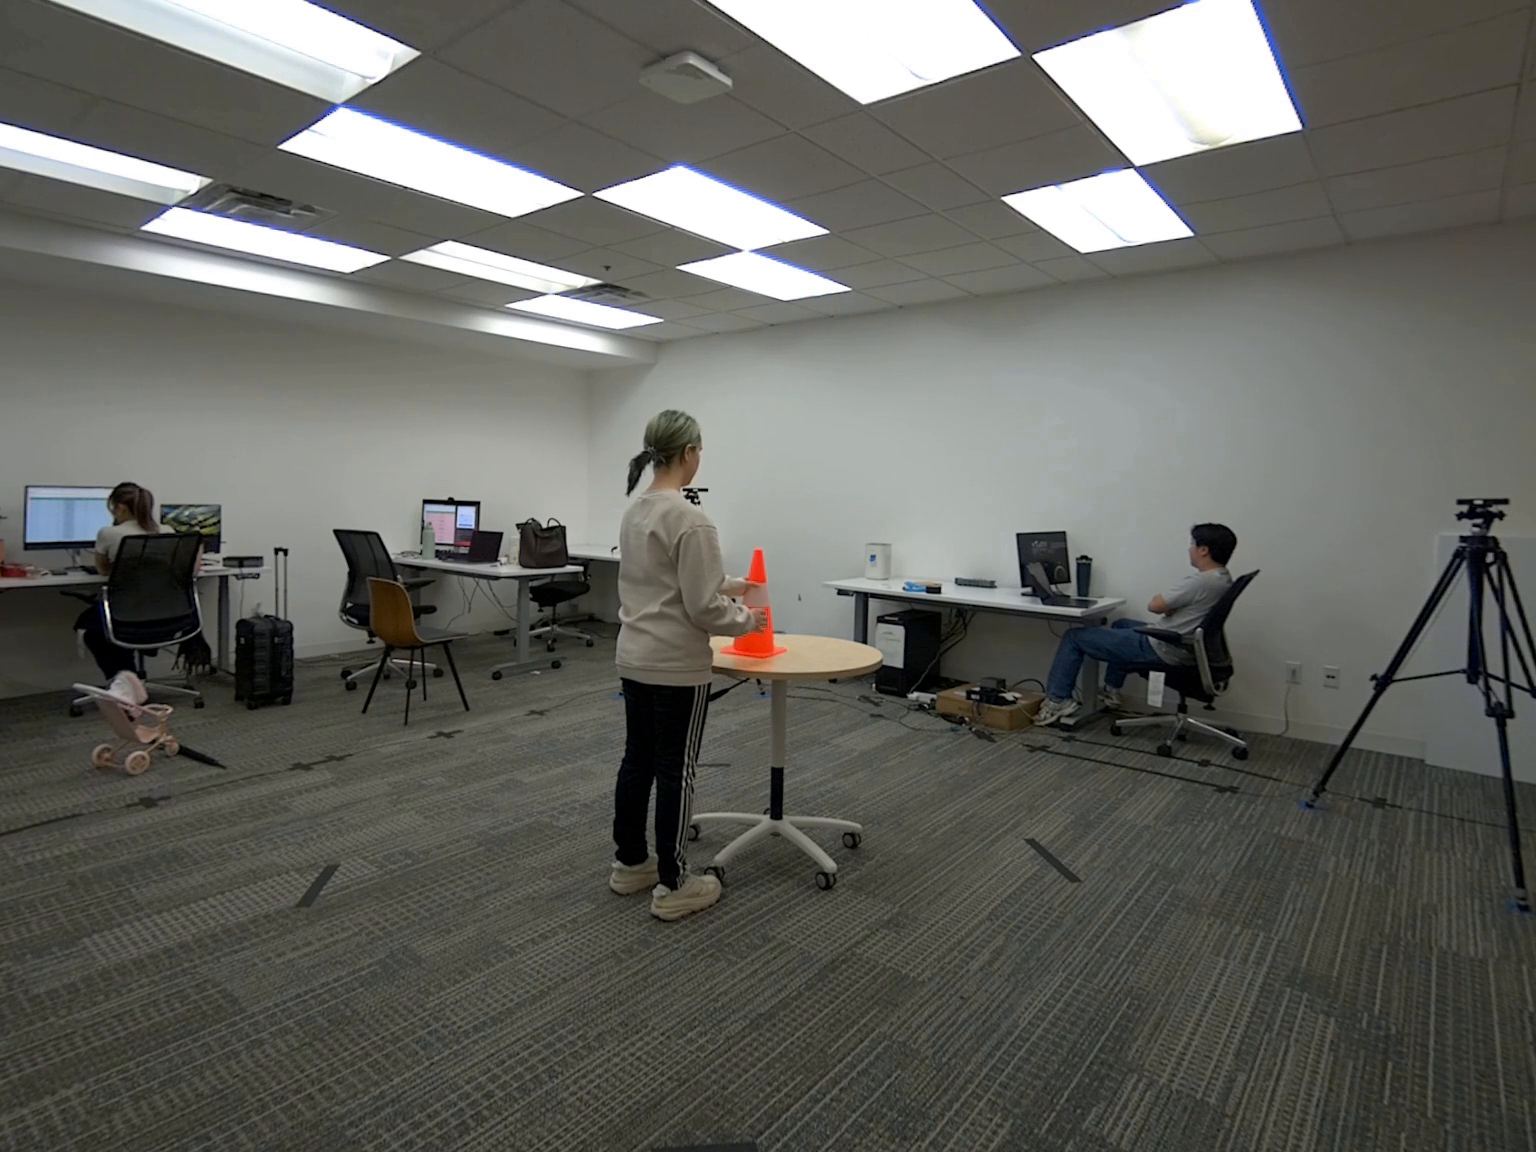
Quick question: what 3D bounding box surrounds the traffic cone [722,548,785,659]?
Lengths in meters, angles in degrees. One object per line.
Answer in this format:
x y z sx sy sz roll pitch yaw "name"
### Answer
-0.052 0.081 3.174 0.210 0.381 0.199 4 7 23 "traffic cone"
